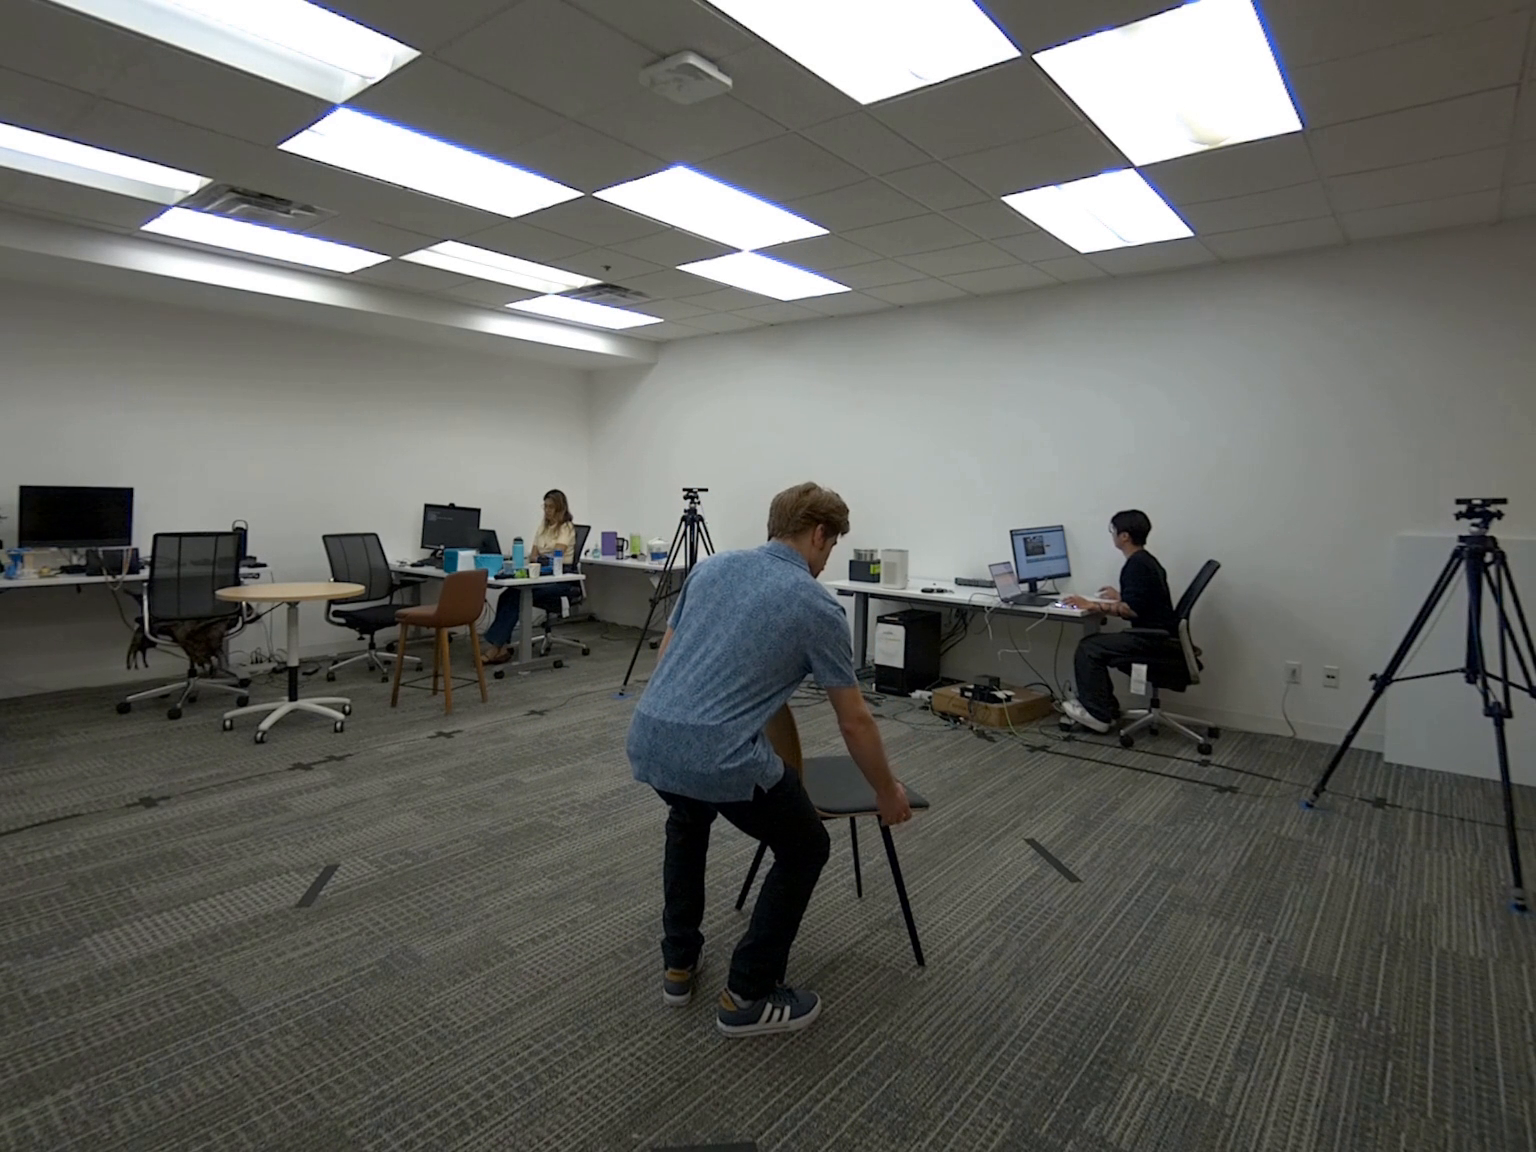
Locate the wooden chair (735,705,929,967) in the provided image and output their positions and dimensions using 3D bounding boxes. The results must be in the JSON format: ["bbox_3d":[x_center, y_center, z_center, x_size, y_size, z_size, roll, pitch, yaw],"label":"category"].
[{"bbox_3d":[0.192,0.692,2.643,0.515,0.874,0.488,-4,4,-17],"label":"wooden chair"}]
